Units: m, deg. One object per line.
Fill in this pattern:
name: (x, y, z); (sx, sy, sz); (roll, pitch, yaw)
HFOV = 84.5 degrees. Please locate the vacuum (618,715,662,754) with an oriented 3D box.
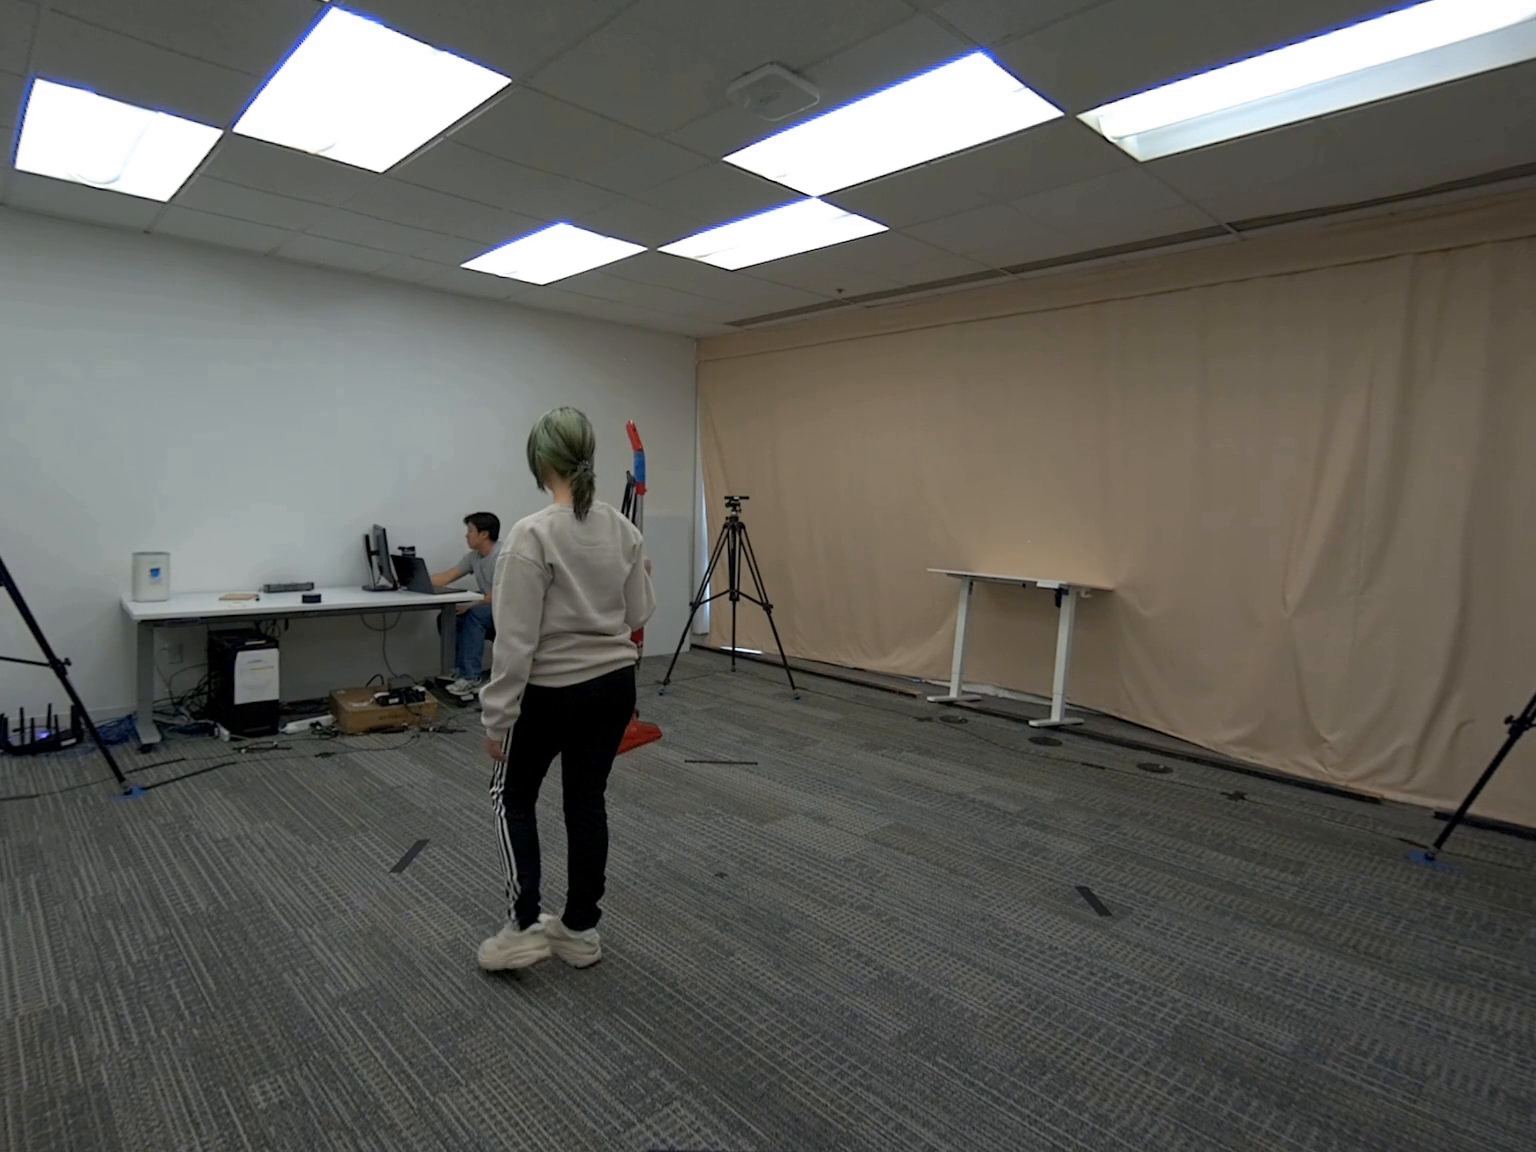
vacuum: (-0.470, 0.020, 2.846); (0.146, 1.043, 0.249); (3, 8, 21)
